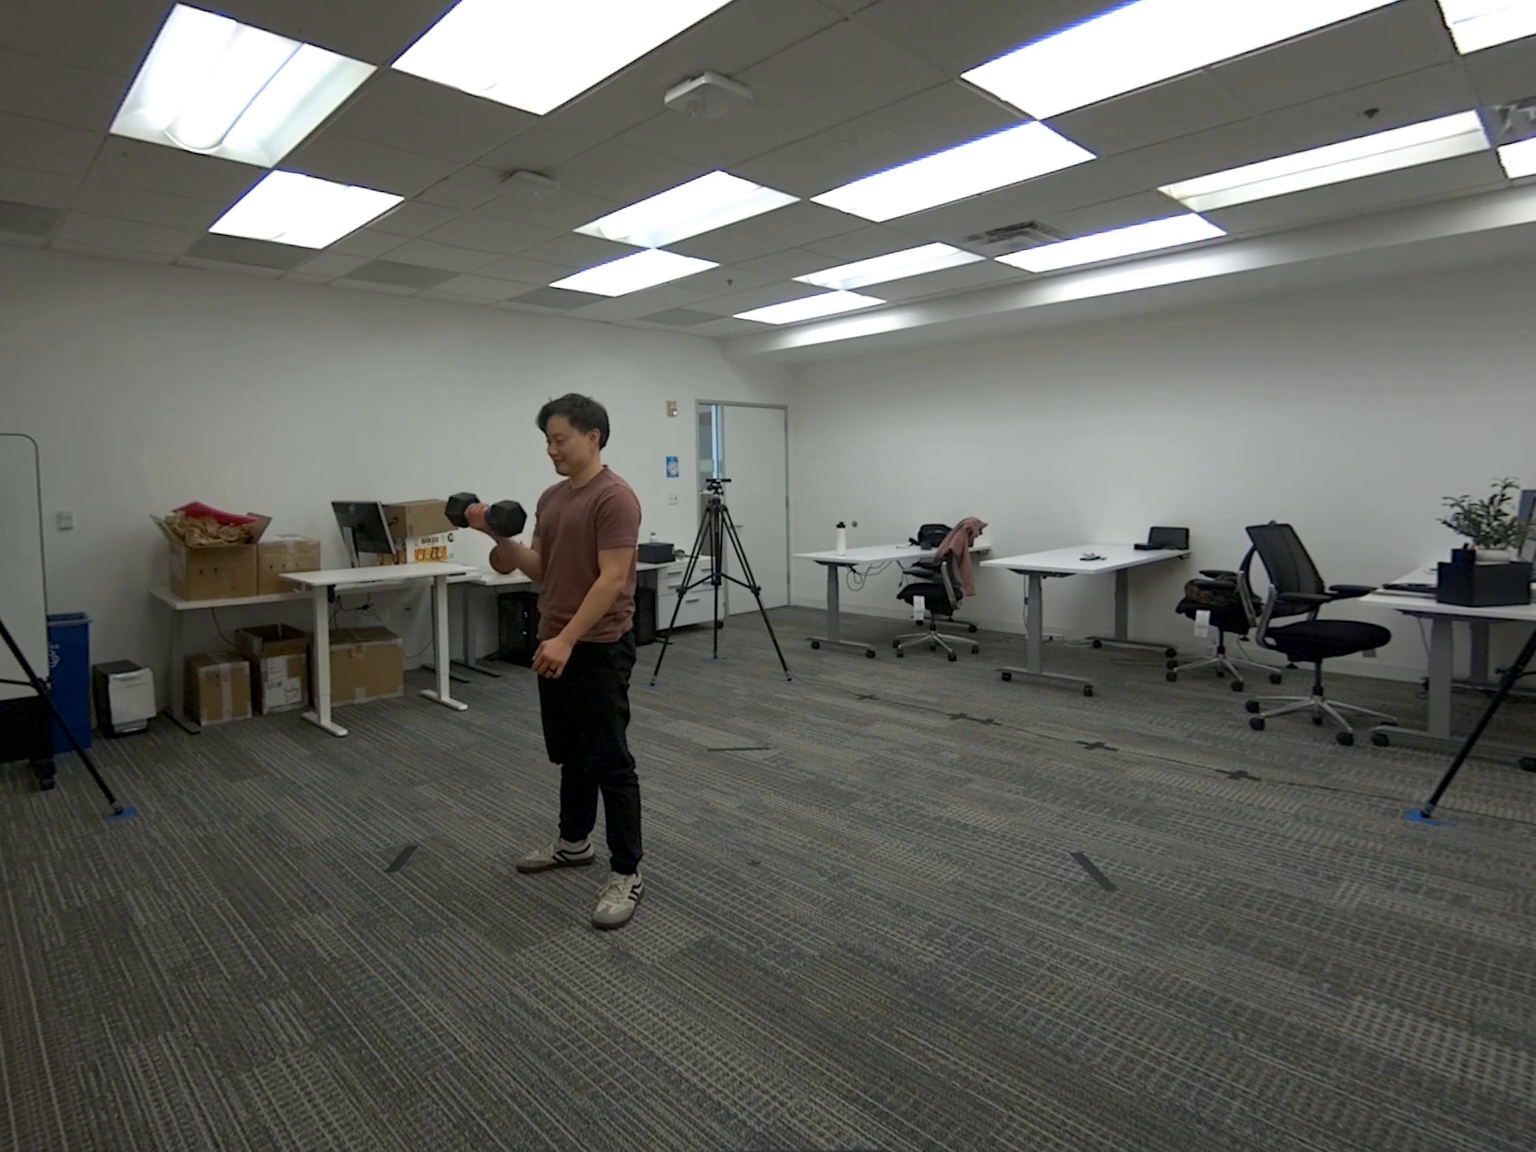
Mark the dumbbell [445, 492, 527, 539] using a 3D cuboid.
[{"bbox_3d":[-0.936,-0.195,2.843,0.302,0.123,0.105,12,-8,30],"label":"dumbbell"}]
